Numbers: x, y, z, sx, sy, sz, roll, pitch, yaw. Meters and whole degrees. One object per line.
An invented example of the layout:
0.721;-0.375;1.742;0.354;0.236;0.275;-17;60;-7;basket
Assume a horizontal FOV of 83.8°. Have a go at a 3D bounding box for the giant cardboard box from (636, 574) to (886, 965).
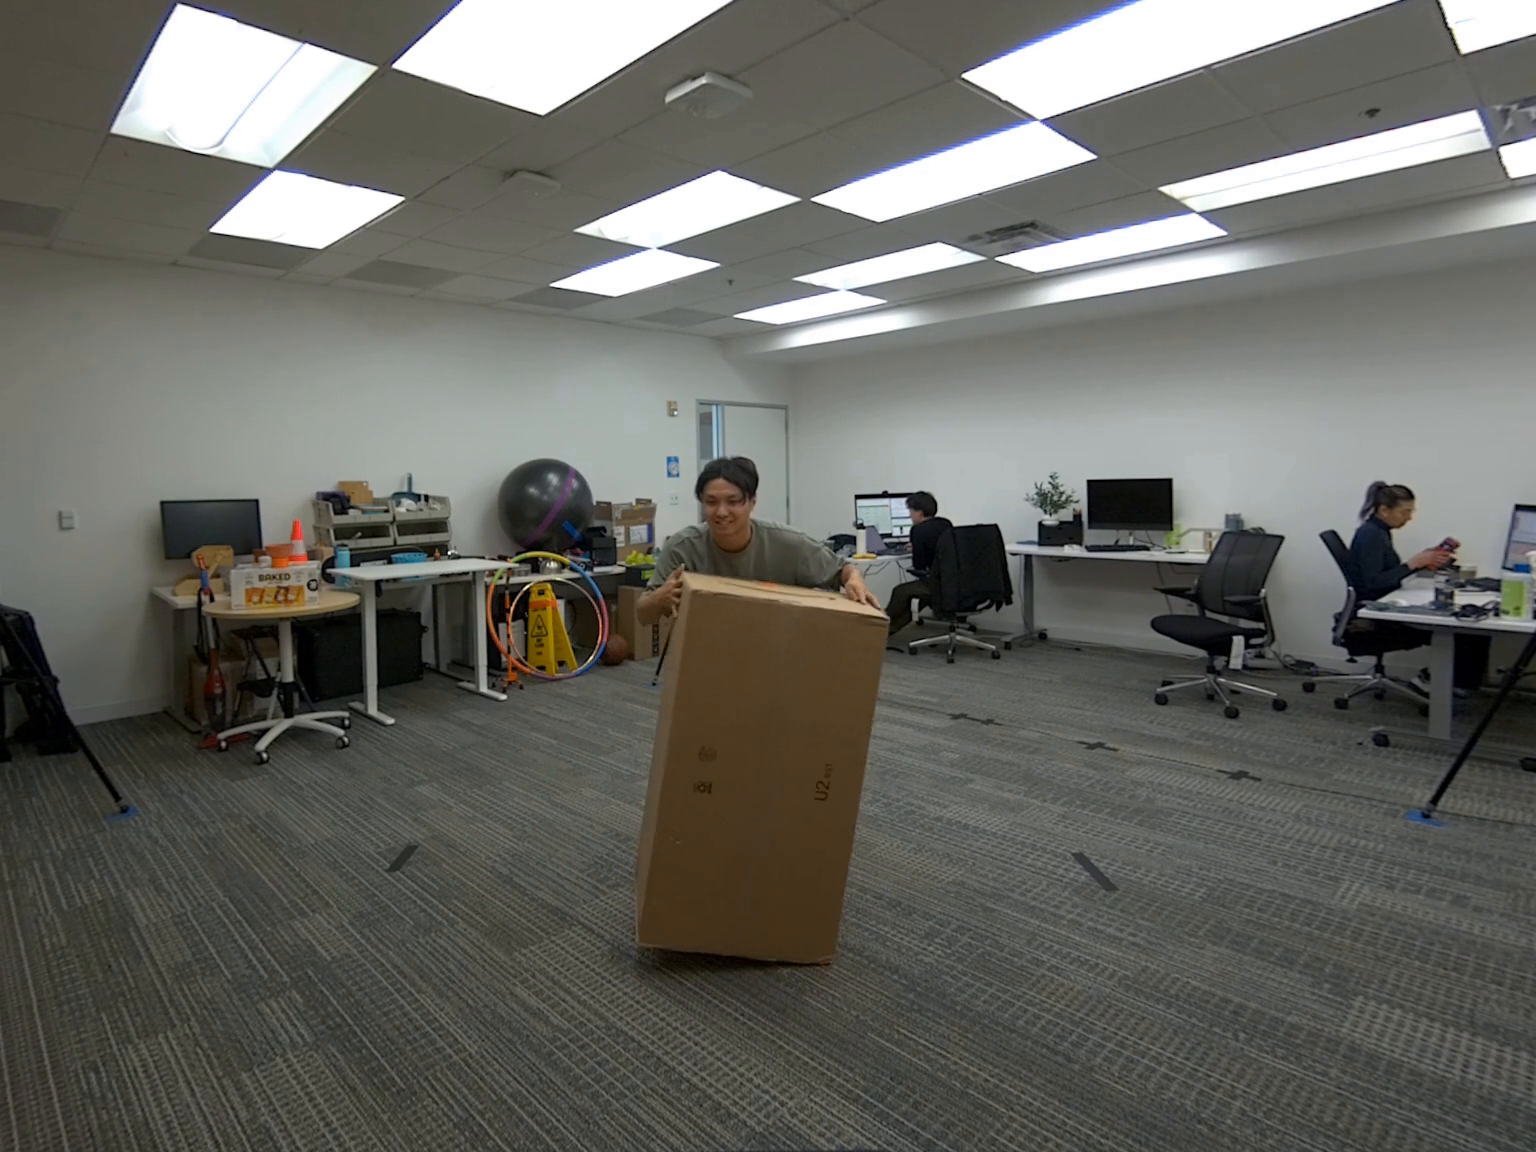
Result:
-0.043;0.555;2.602;0.573;1.023;0.431;8;4;-8;giant cardboard box
